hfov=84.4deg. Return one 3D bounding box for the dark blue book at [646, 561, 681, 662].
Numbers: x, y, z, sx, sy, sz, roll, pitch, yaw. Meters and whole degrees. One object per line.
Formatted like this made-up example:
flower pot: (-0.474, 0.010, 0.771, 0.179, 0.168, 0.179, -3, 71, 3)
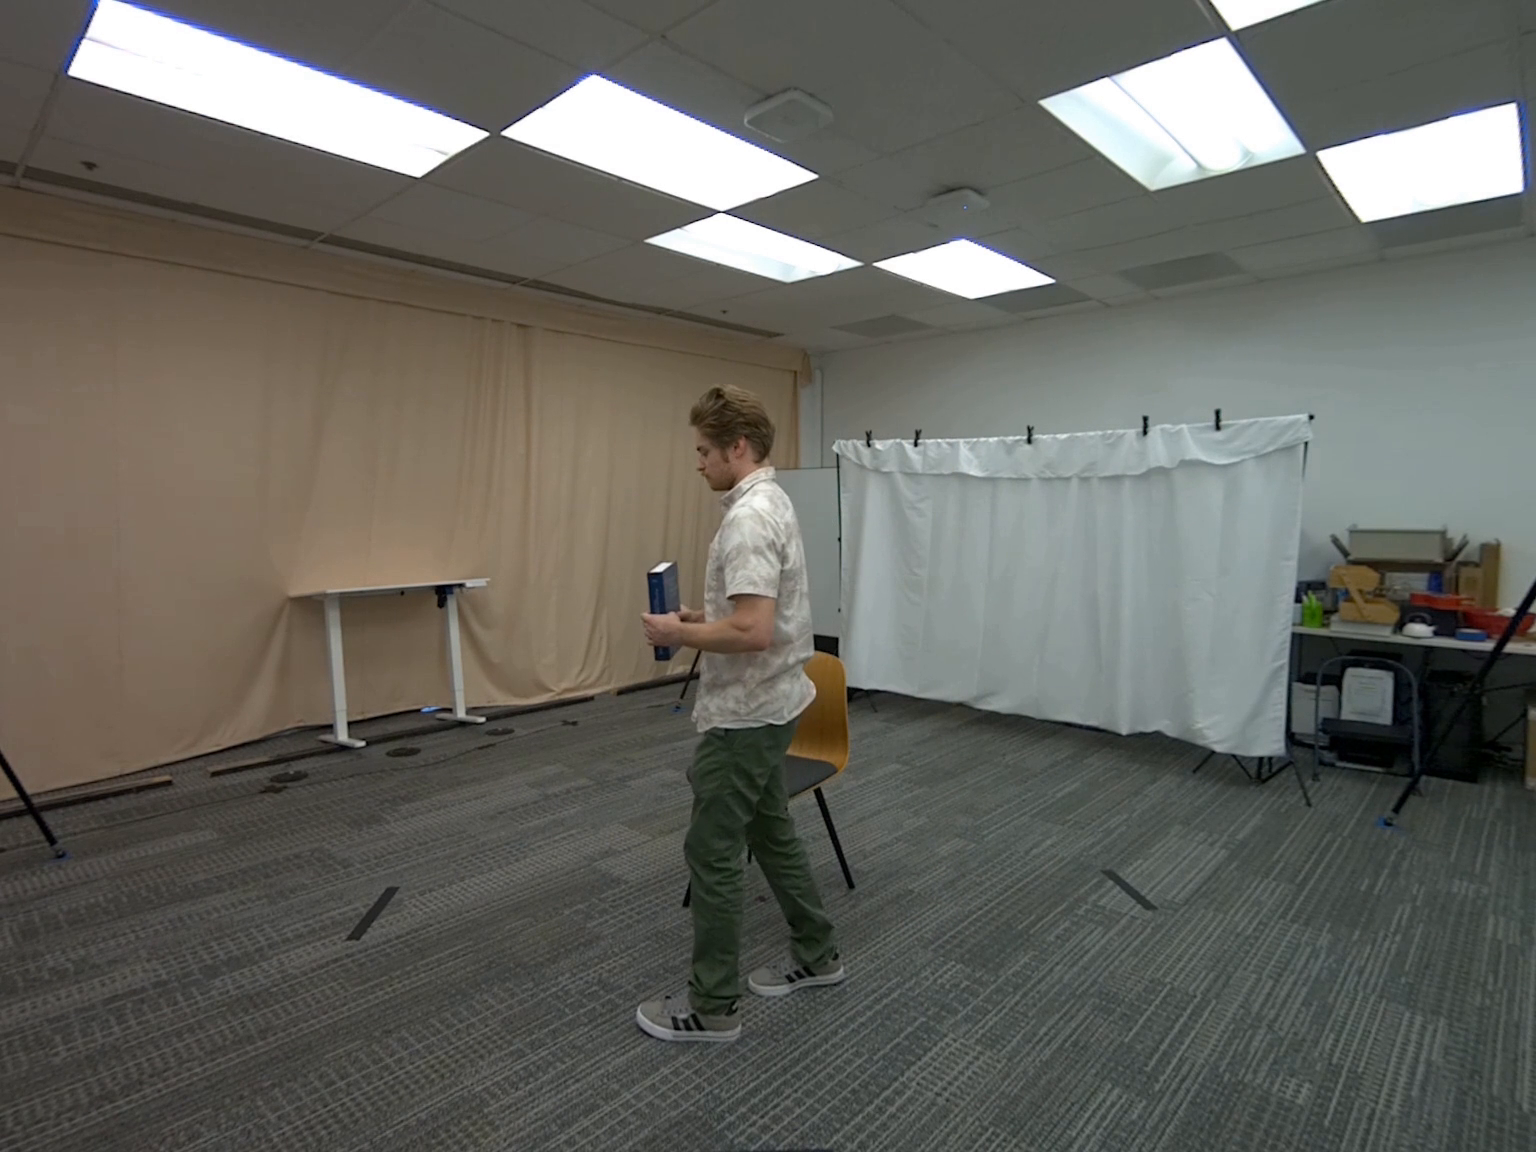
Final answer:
dark blue book: (-0.274, 0.095, 2.303, 0.046, 0.243, 0.162, -2, 10, 13)
